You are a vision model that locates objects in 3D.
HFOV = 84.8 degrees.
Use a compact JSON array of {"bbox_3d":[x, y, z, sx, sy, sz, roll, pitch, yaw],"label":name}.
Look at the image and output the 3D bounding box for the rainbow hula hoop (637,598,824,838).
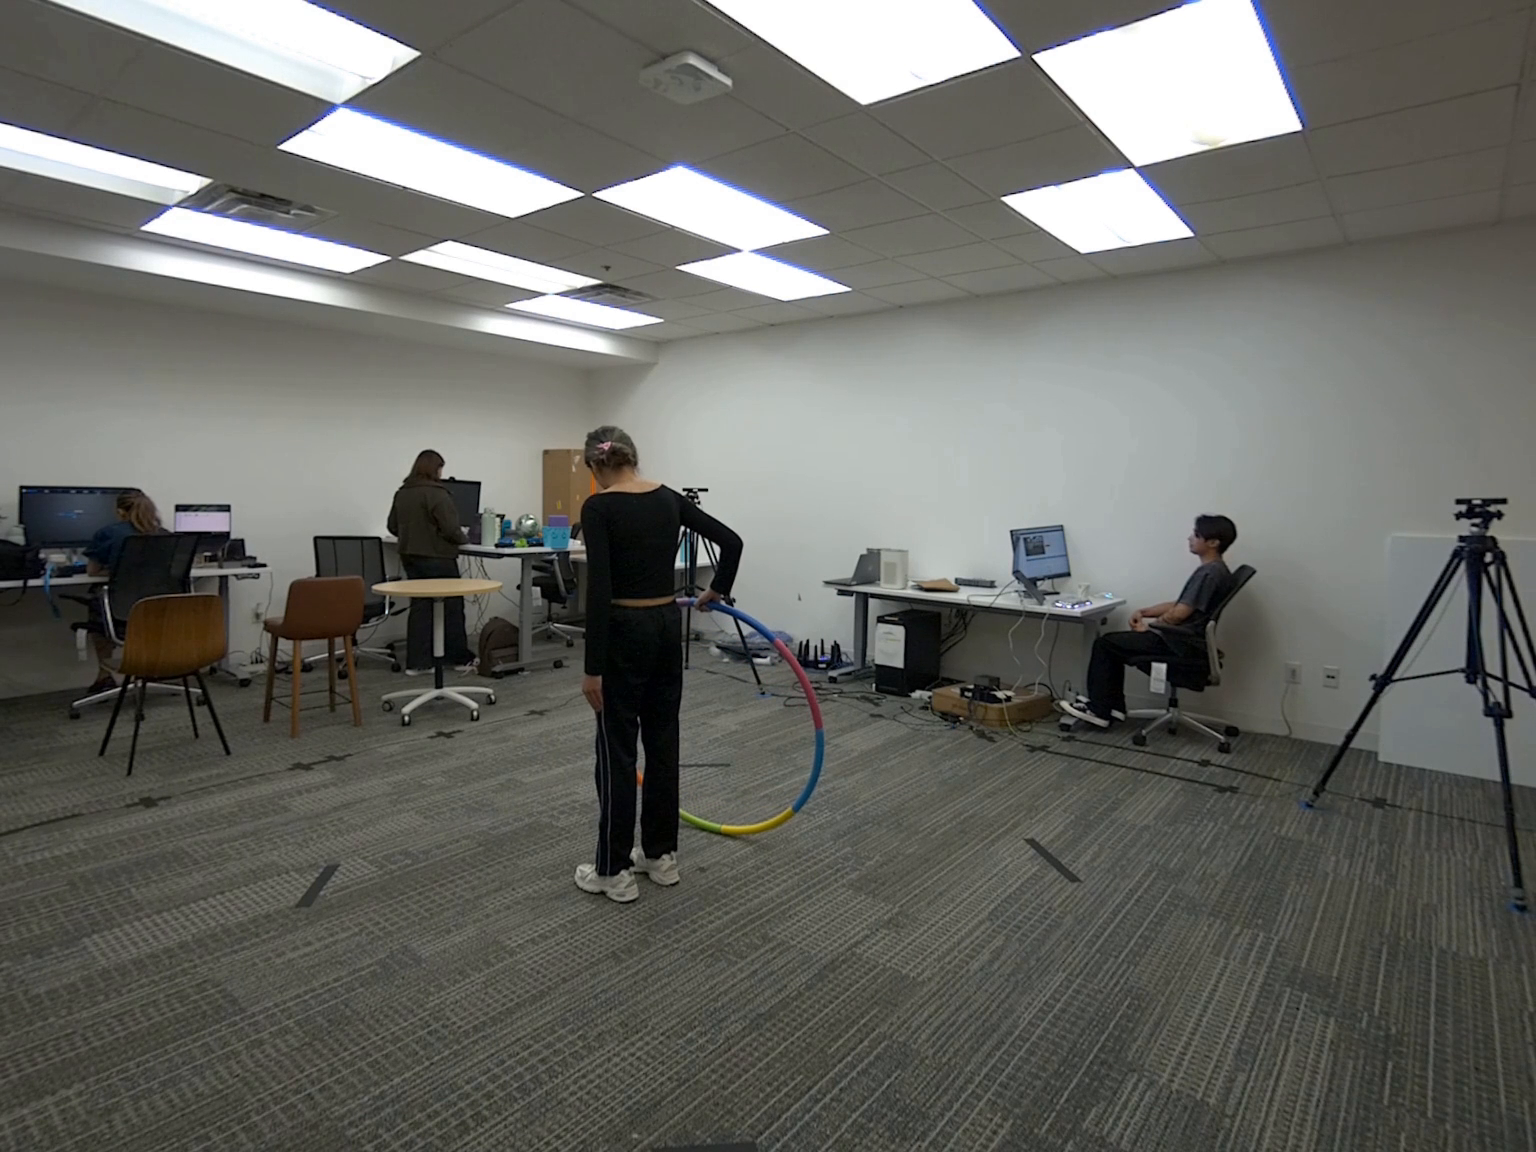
[{"bbox_3d":[-0.252,0.559,3.356,1.005,0.966,0.035,3,13,27],"label":"rainbow hula hoop"}]
